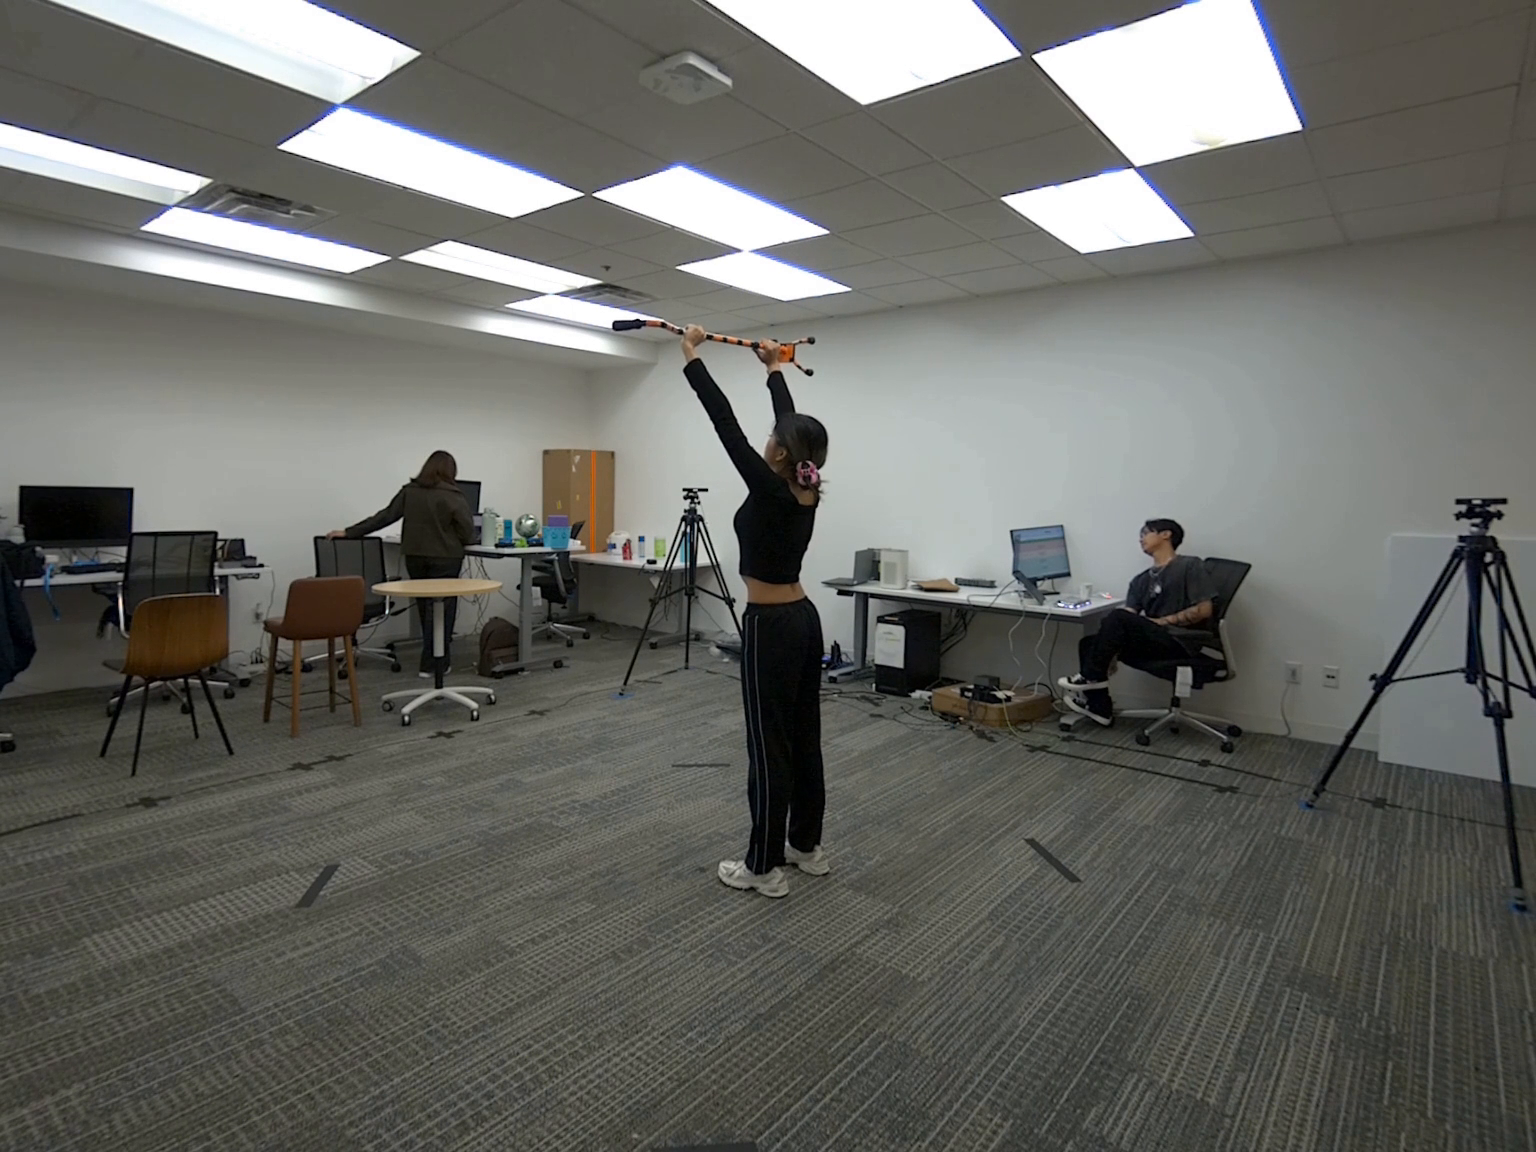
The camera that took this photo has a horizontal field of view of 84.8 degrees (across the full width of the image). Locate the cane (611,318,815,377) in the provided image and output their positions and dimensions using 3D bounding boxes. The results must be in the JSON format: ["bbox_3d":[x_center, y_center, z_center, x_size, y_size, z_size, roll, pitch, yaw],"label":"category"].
[{"bbox_3d":[-0.175,-0.830,3.020,0.213,0.151,0.883,8,10,37],"label":"cane"}]
